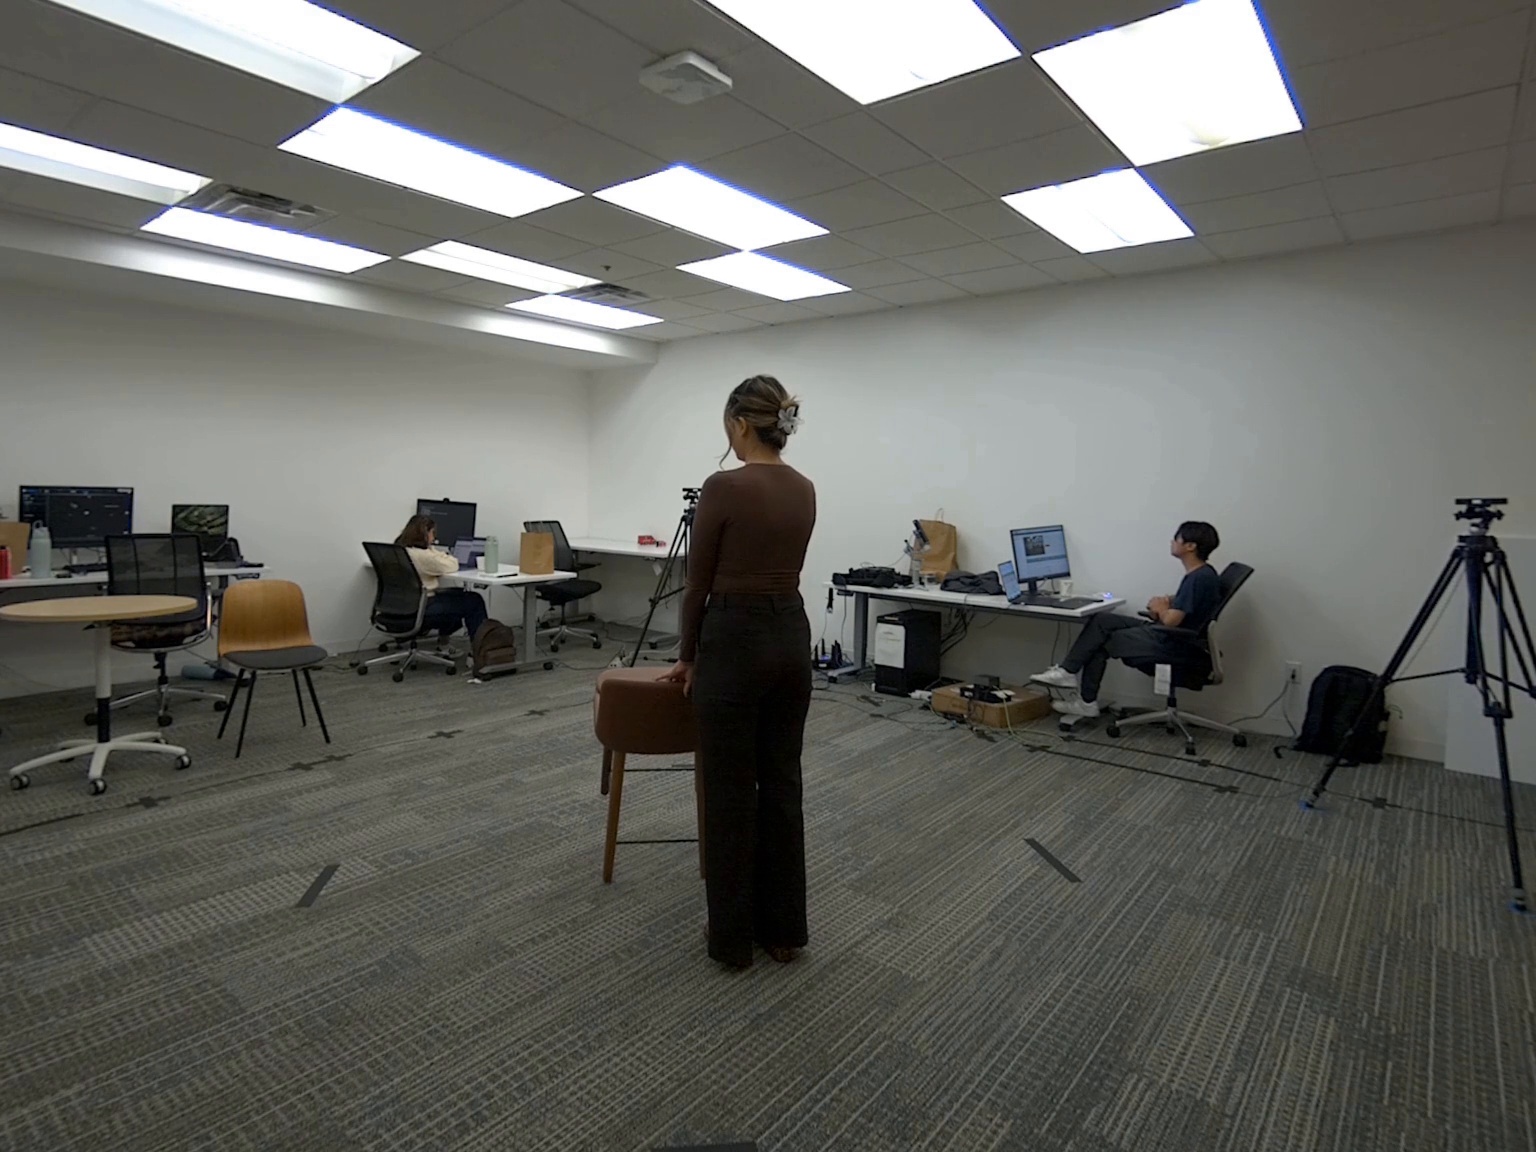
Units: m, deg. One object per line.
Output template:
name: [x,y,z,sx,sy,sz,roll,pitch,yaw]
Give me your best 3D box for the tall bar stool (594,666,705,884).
tall bar stool: [-0.402,0.592,3.011,0.453,0.870,0.482,1,29,-8]
